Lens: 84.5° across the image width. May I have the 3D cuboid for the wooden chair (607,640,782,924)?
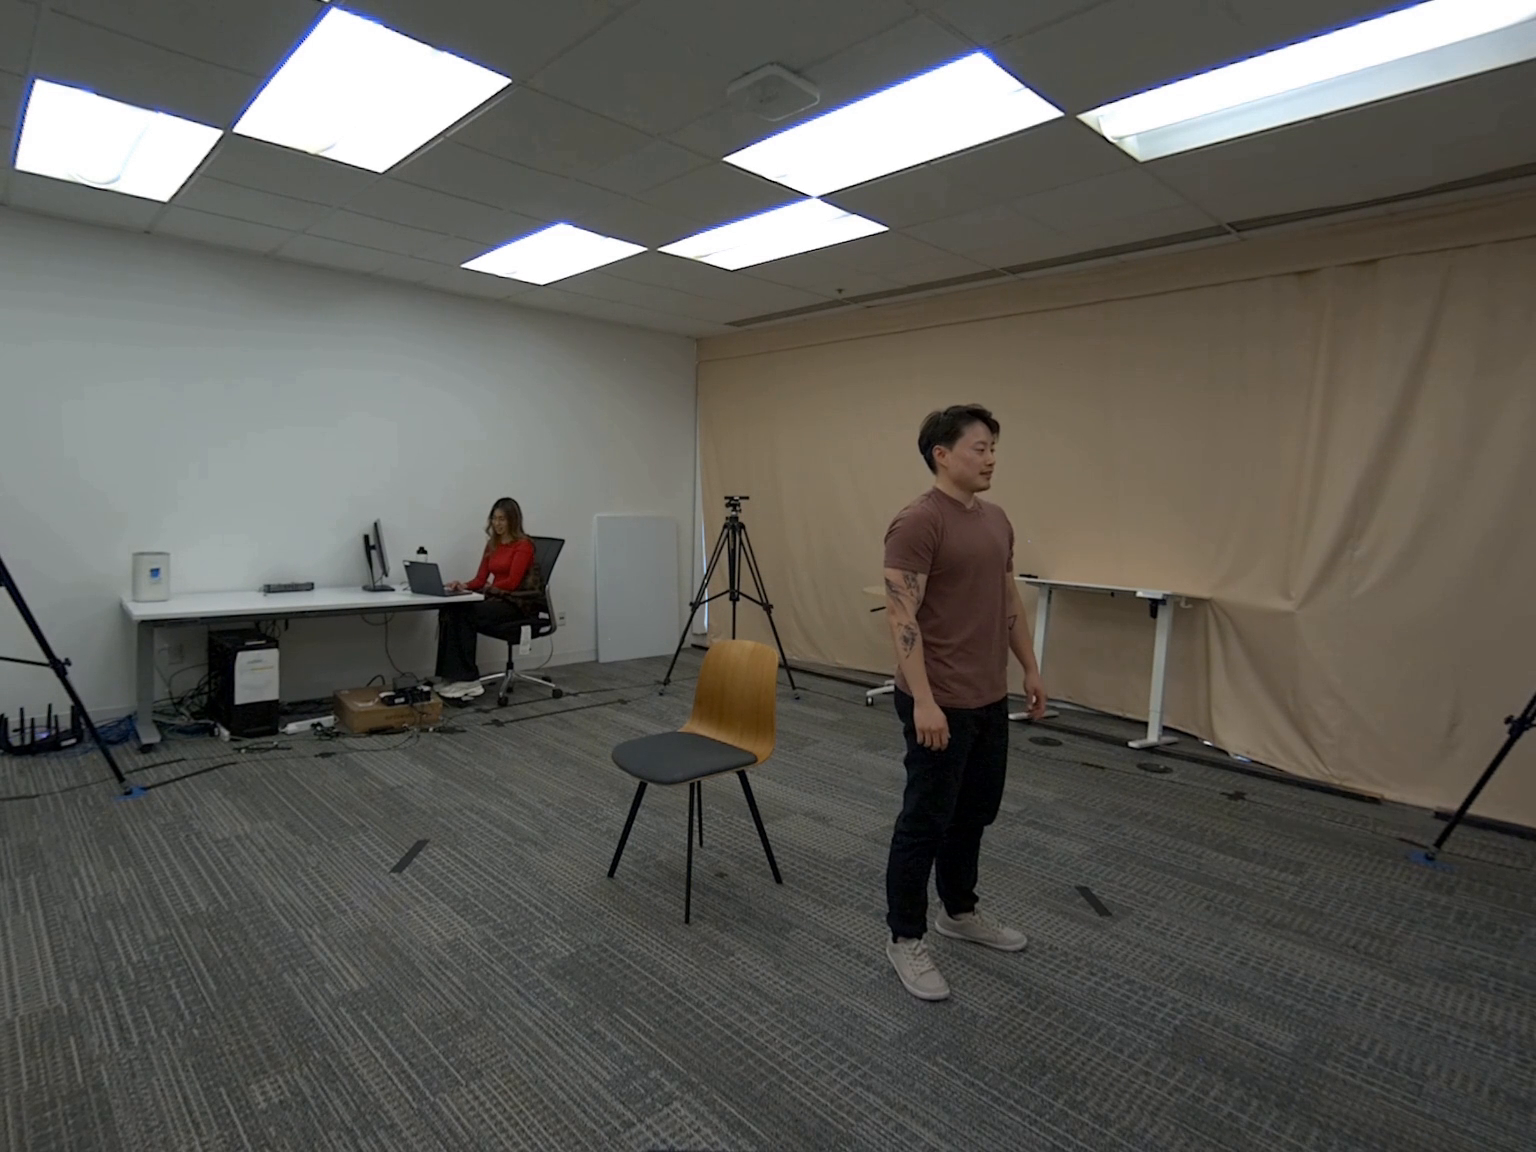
[{"bbox_3d":[-0.266,0.682,3.018,0.510,0.877,0.490,4,1,-44],"label":"wooden chair"}]
